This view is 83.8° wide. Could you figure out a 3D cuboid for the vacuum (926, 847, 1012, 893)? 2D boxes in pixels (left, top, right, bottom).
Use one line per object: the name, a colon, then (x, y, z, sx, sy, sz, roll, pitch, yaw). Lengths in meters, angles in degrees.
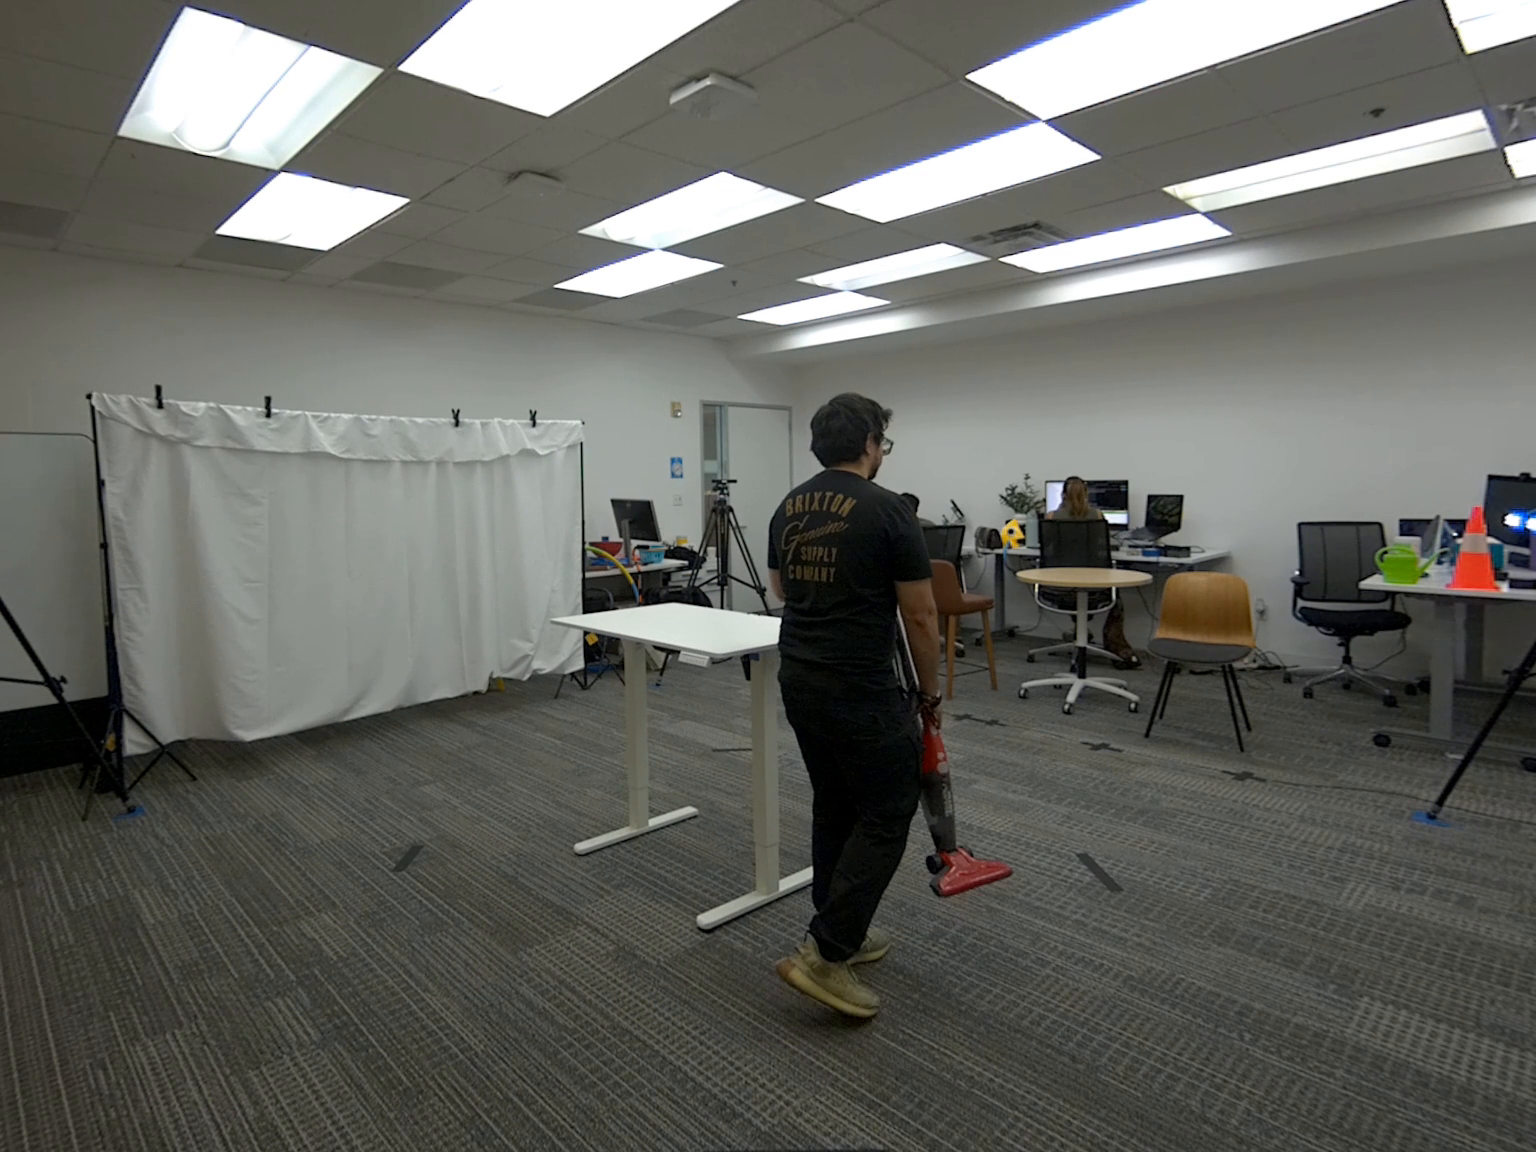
vacuum: (0.427, 0.314, 2.507, 0.247, 1.065, 0.145, -6, -15, -26)
